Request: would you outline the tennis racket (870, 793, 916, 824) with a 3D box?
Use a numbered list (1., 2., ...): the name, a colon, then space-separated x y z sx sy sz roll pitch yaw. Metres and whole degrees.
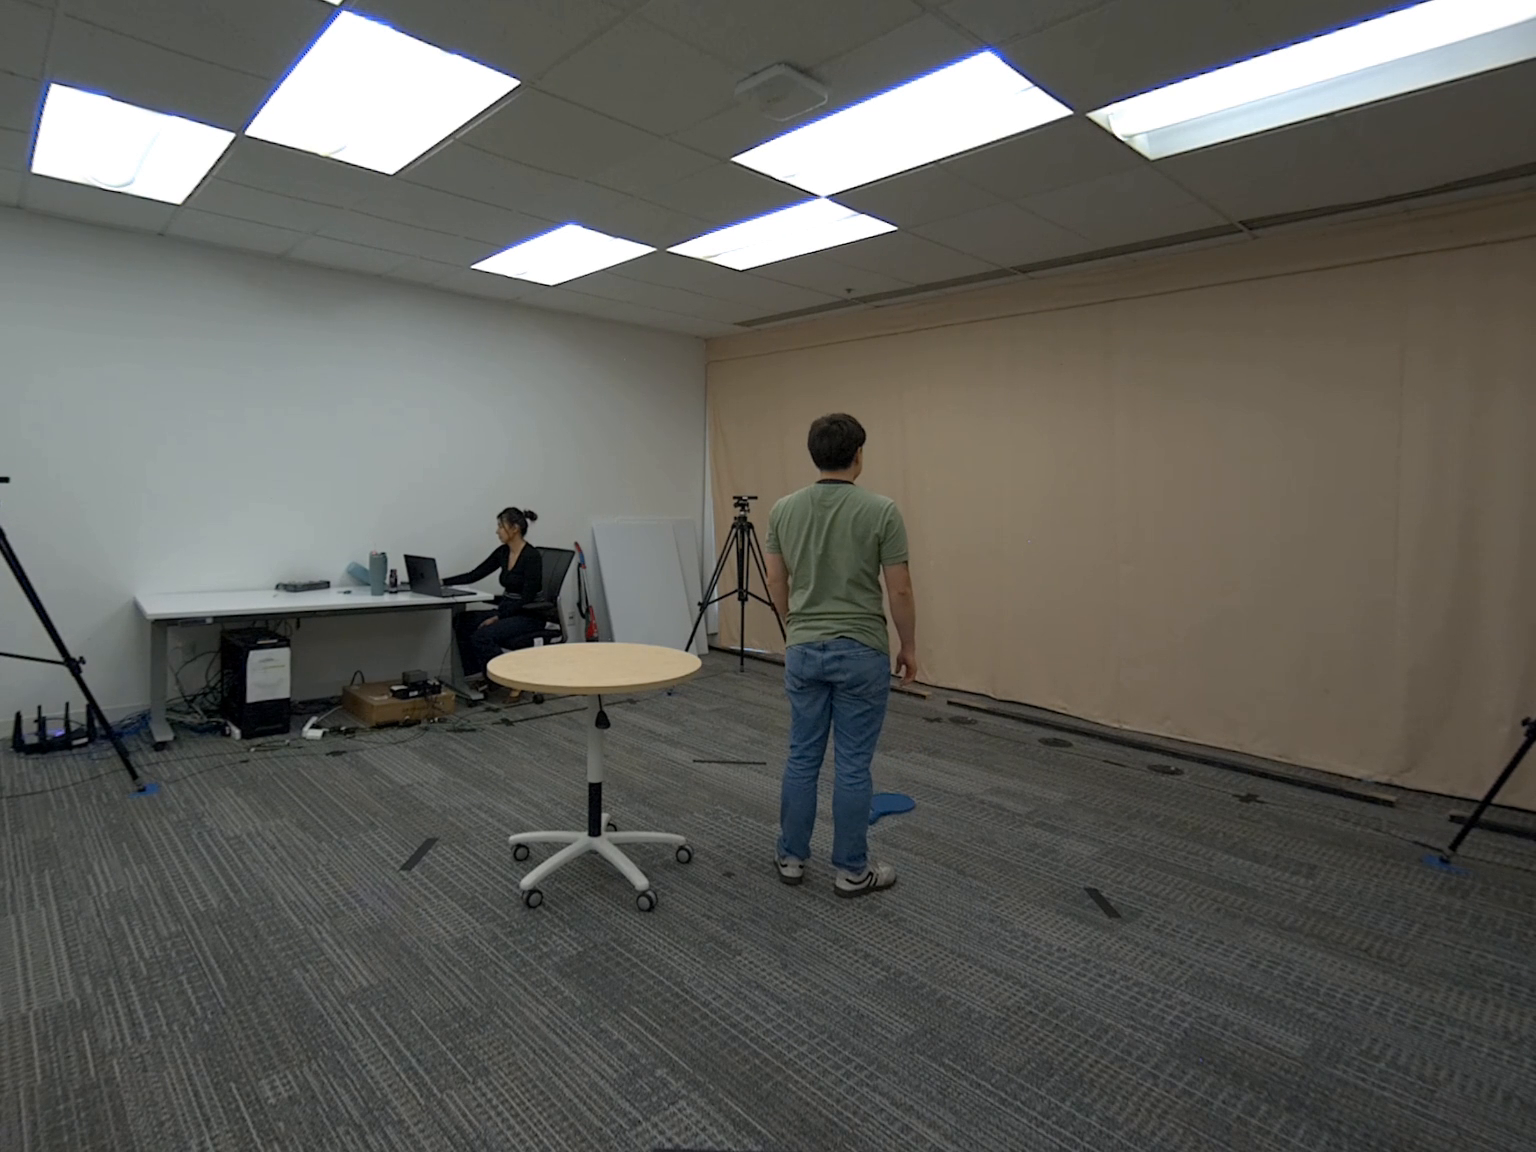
1. tennis racket: 0.509 1.042 3.811 0.218 0.032 0.424 4 5 29
